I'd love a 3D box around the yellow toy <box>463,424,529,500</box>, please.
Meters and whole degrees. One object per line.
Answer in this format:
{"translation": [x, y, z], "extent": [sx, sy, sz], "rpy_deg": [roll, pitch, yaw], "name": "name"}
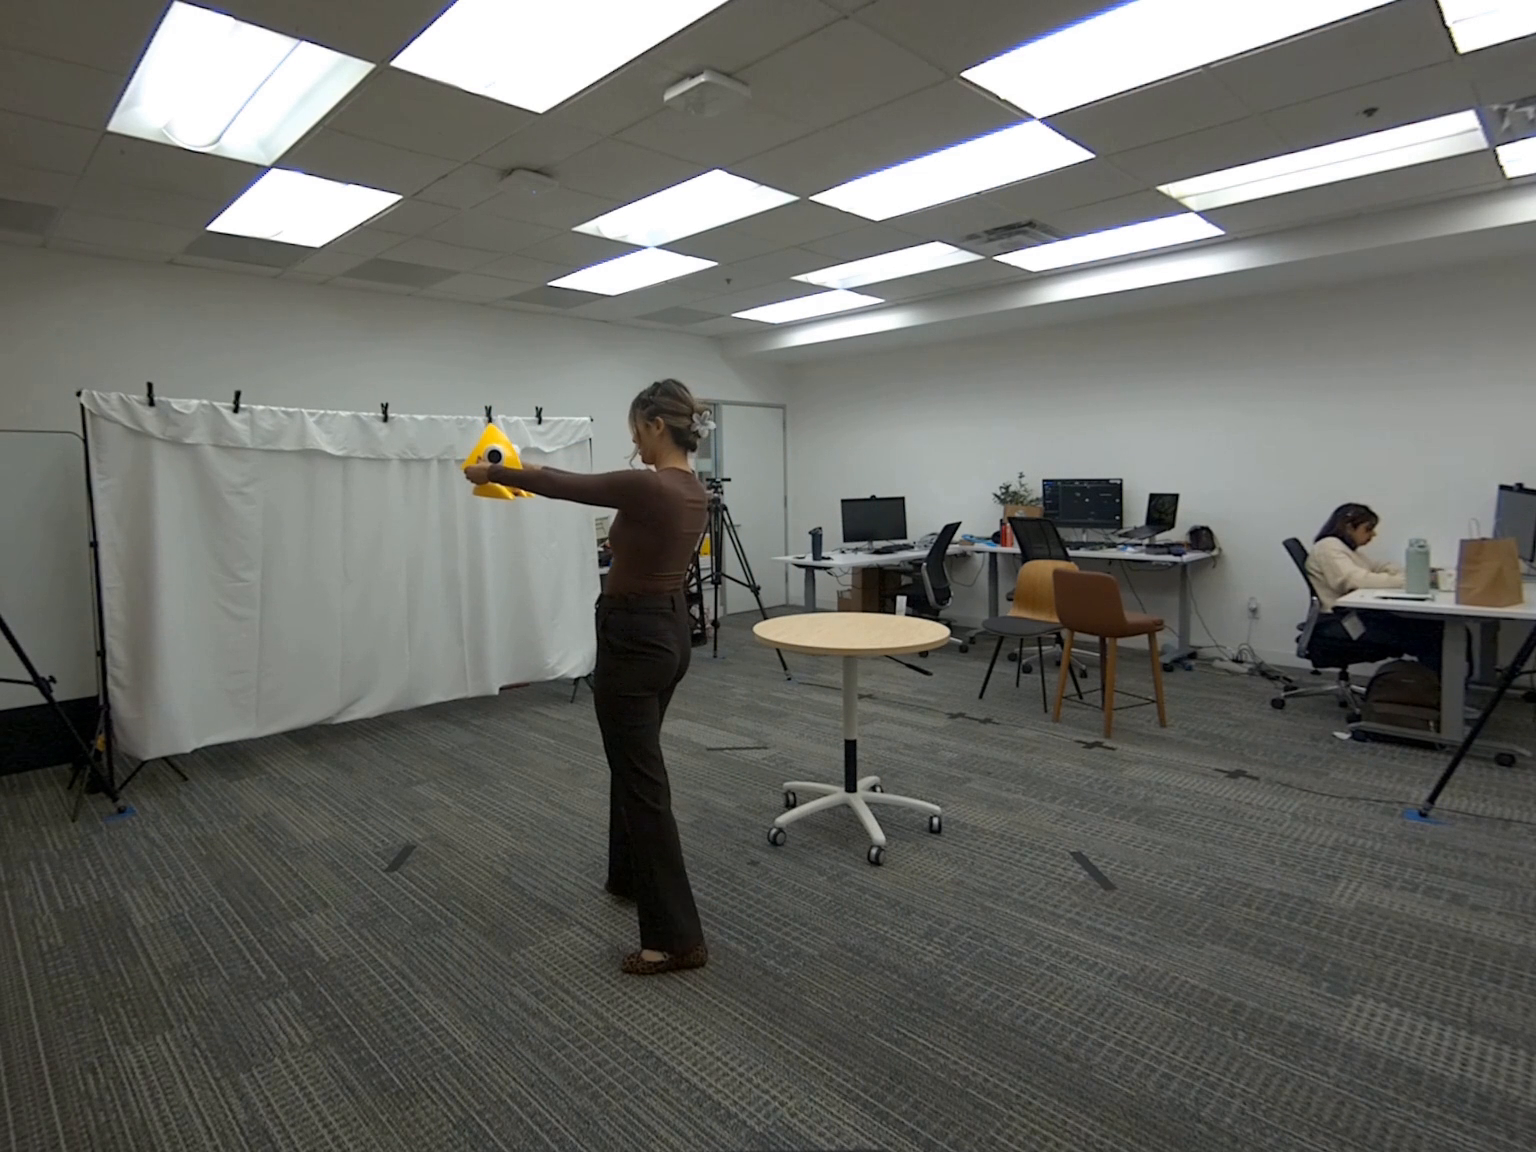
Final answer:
{"translation": [-0.867, -0.380, 2.802], "extent": [0.197, 0.229, 0.202], "rpy_deg": [10, 10, 18], "name": "yellow toy"}
